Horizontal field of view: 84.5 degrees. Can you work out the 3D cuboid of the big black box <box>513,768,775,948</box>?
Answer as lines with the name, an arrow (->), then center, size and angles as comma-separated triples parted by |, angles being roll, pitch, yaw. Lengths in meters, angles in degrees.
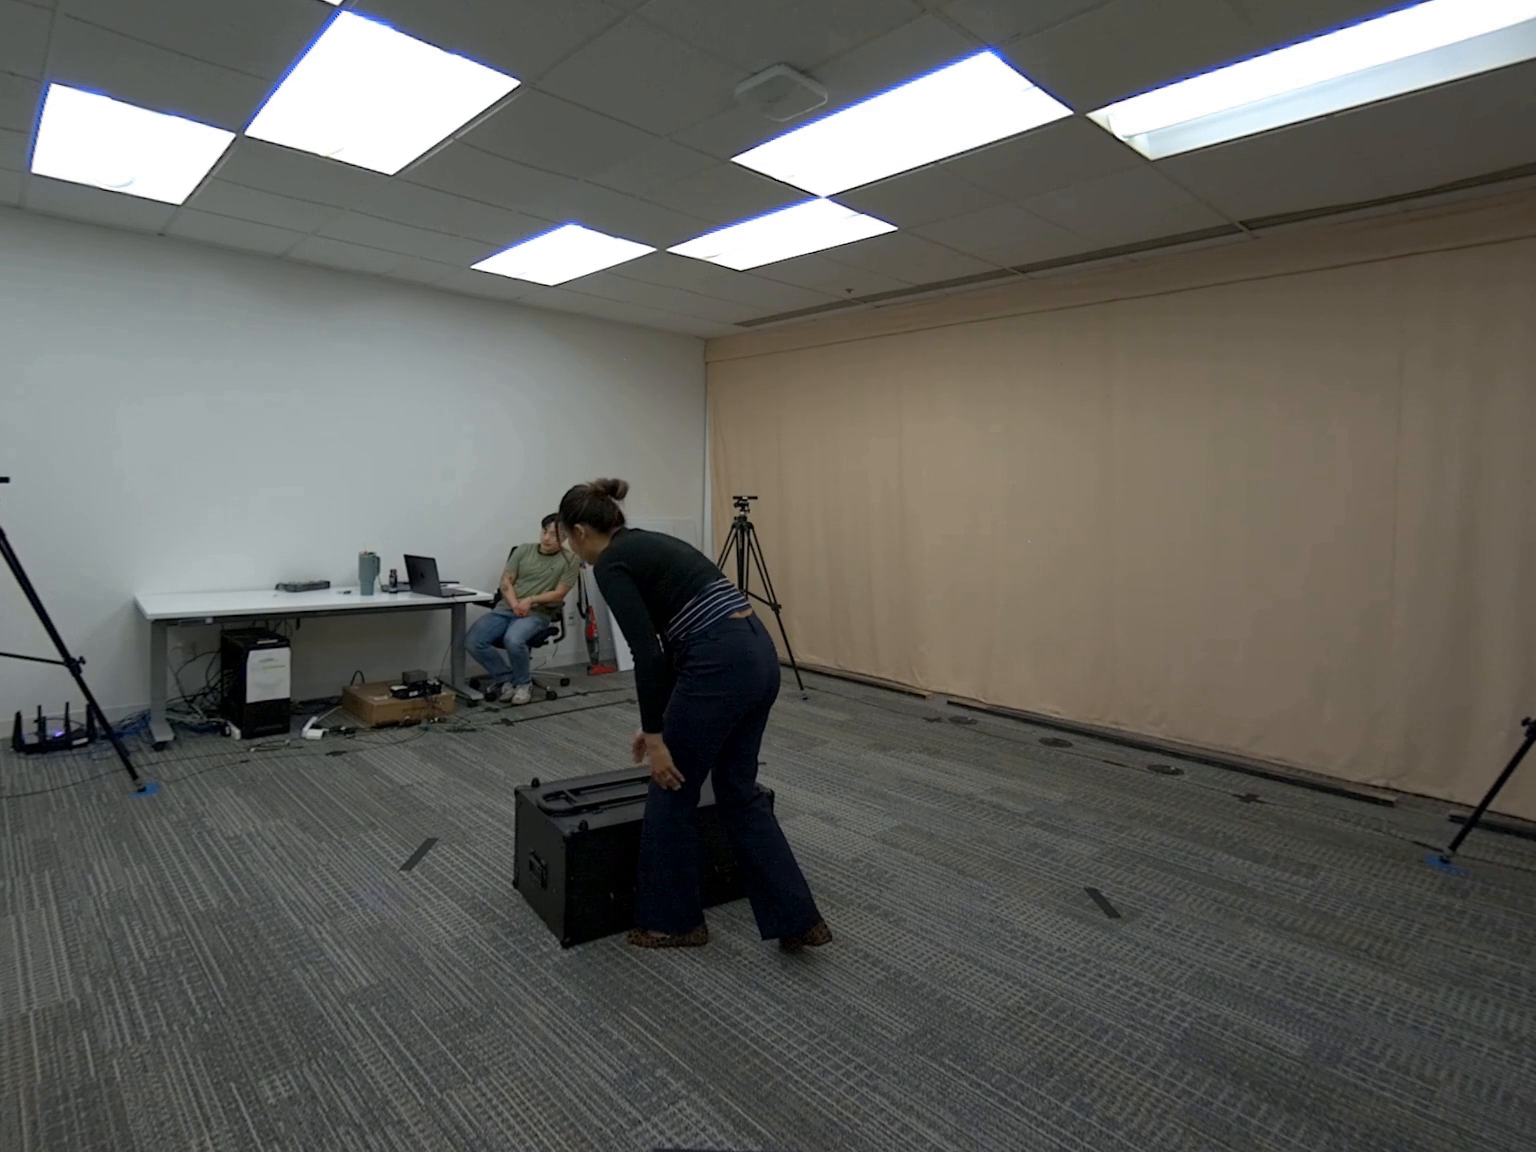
big black box -> -0.464, 0.936, 2.950 | 0.843, 0.395, 0.534 | -2, 6, -34
